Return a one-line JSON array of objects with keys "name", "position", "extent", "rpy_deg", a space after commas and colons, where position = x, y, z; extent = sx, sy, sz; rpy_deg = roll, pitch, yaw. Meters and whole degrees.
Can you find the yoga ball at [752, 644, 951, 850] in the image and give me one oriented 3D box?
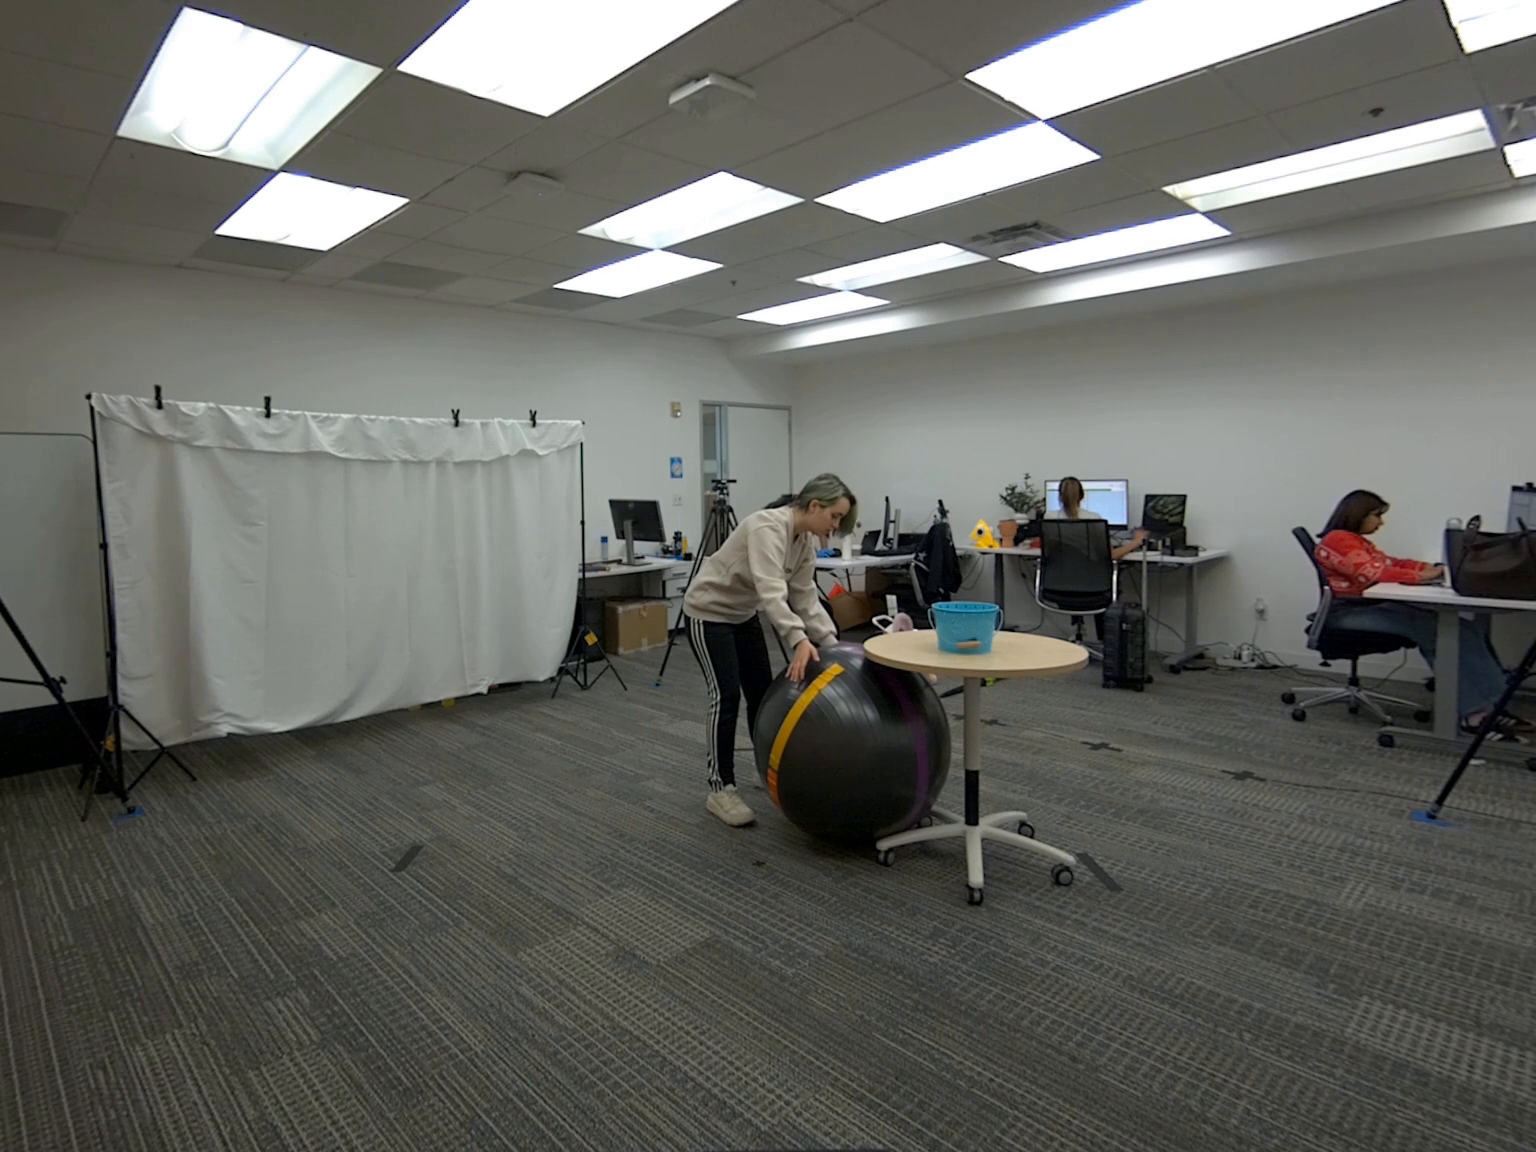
[{"name": "yoga ball", "position": [0.318, 0.648, 3.308], "extent": [0.757, 0.755, 0.762], "rpy_deg": [-1, 5, -2]}]
